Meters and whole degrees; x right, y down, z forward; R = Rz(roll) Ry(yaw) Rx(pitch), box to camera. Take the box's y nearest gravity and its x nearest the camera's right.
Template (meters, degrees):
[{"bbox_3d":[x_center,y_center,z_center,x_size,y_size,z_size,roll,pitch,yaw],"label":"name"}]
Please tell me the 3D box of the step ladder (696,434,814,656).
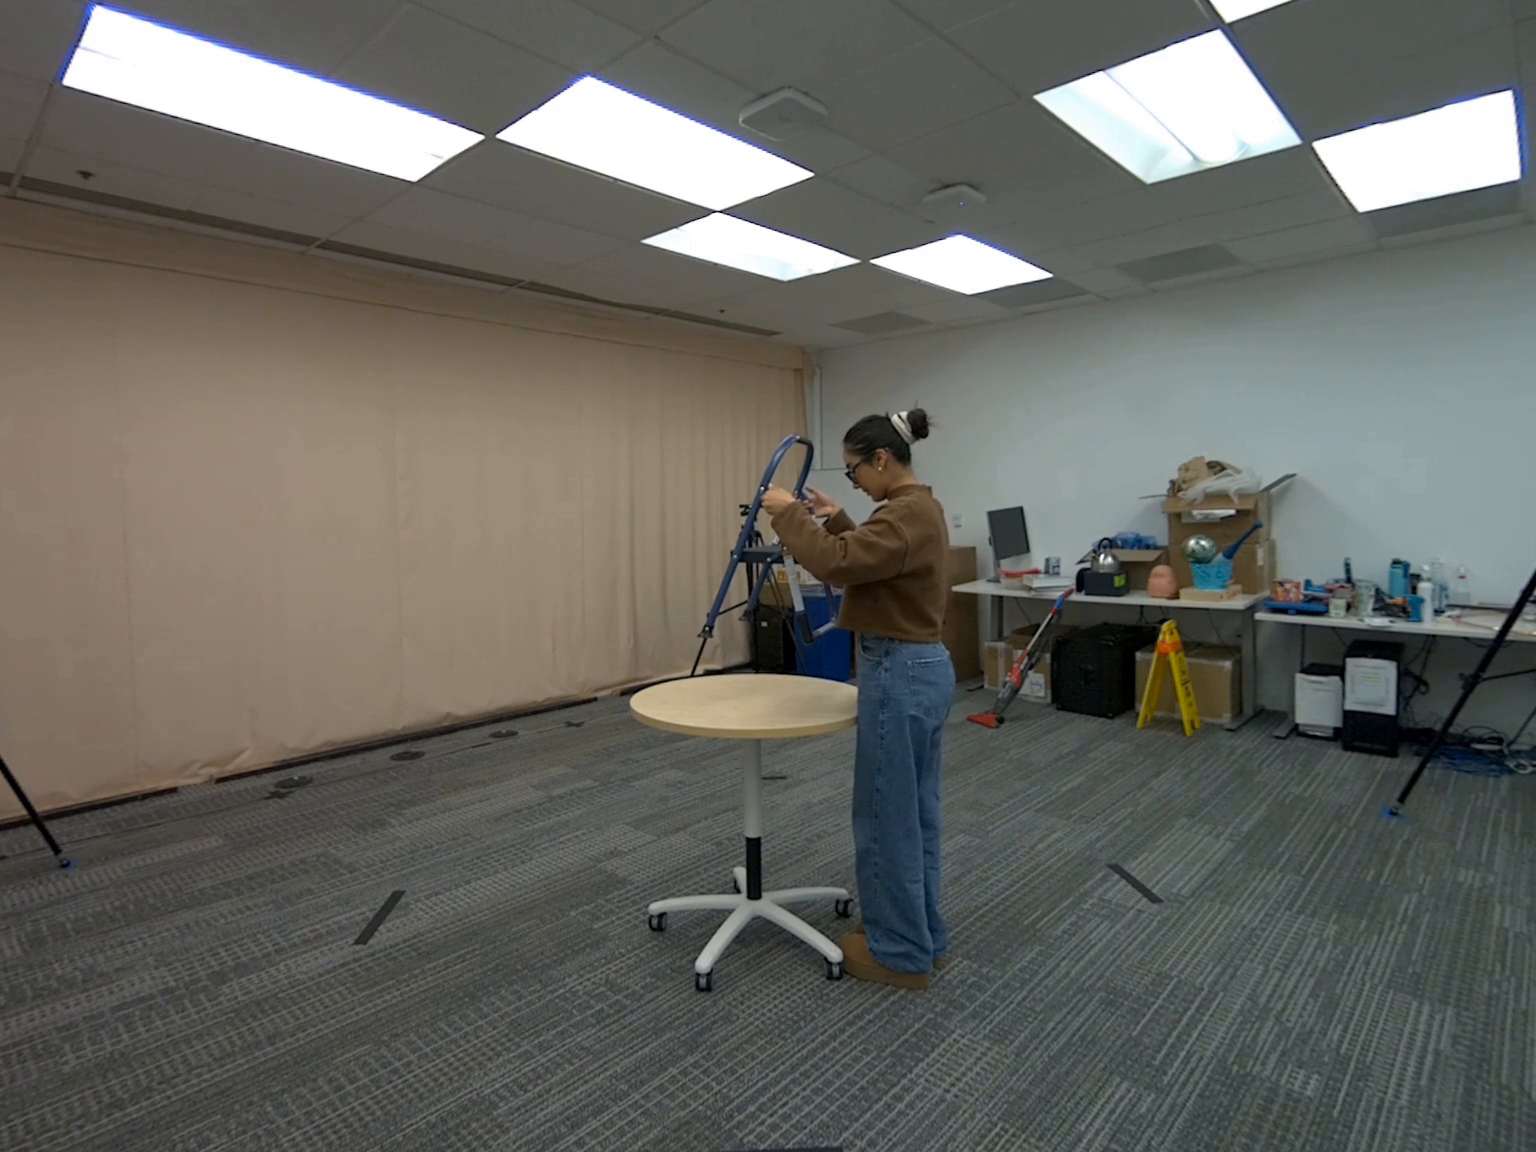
[{"bbox_3d":[0.040,-0.127,2.612,0.356,0.605,0.423,3,3,18],"label":"step ladder"}]
